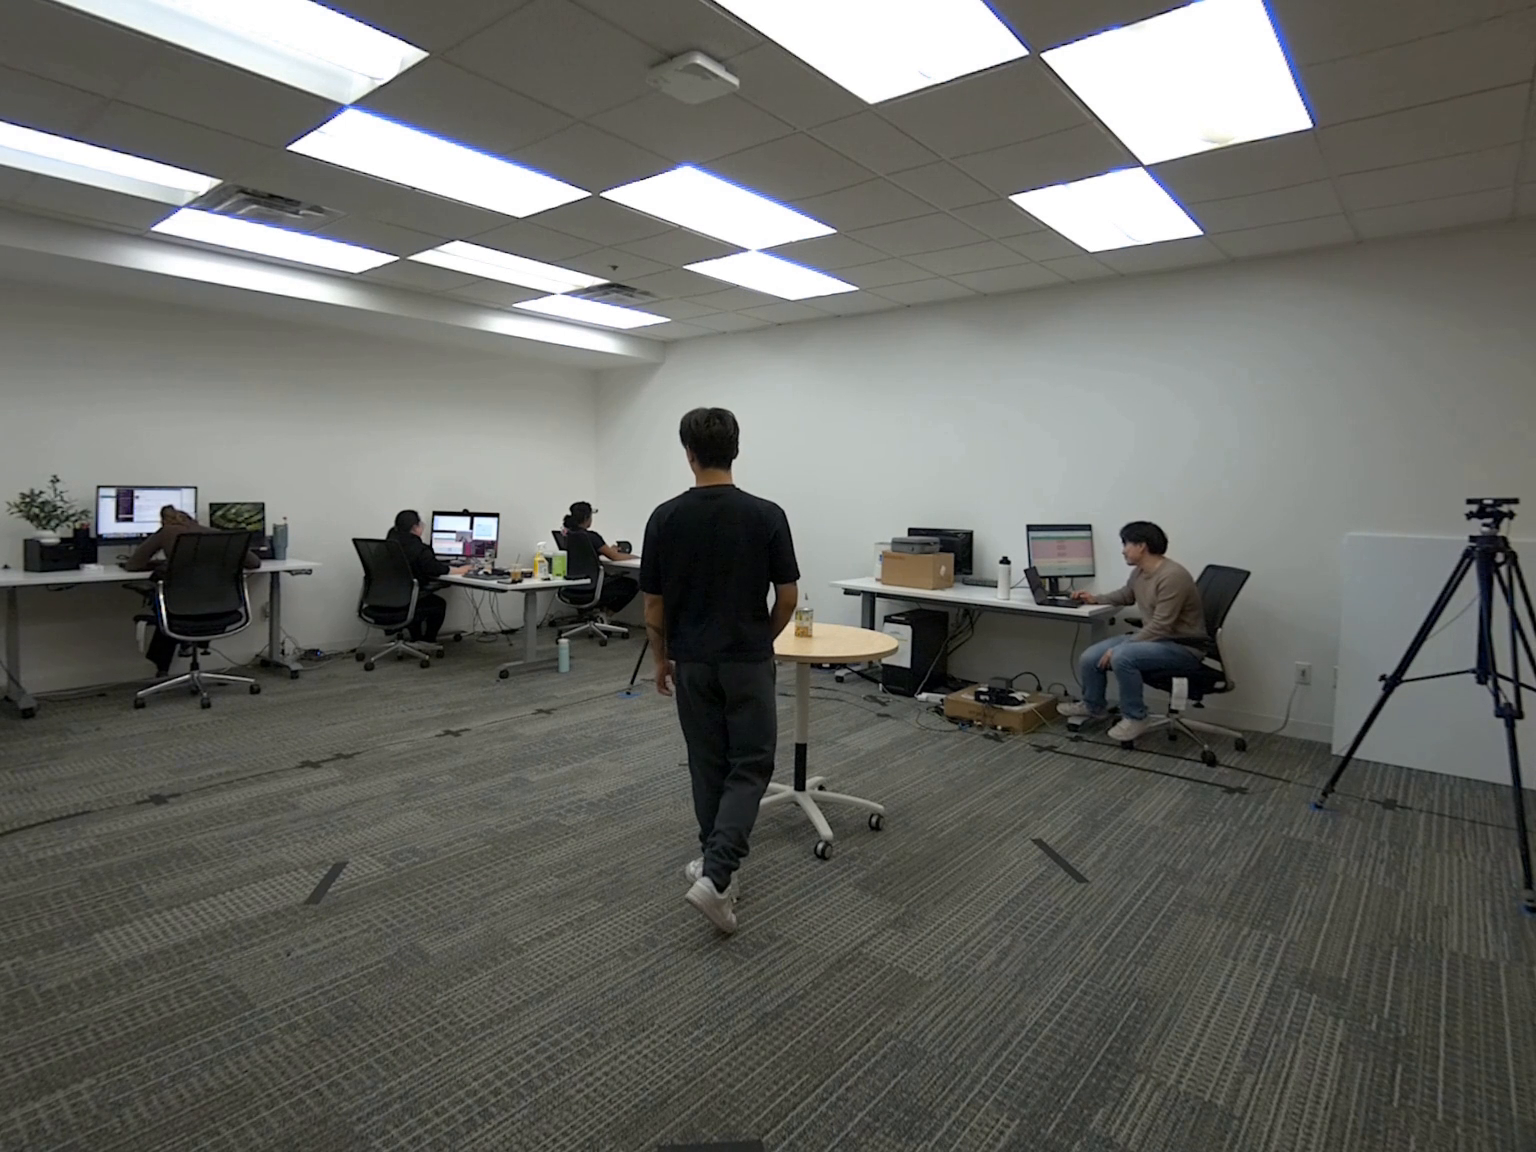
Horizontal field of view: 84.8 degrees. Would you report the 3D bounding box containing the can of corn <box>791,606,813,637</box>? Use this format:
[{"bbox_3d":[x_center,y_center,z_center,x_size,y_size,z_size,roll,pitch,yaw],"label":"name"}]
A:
[{"bbox_3d":[0.141,0.188,3.542,0.074,0.111,0.074,5,2,-2],"label":"can of corn"}]
